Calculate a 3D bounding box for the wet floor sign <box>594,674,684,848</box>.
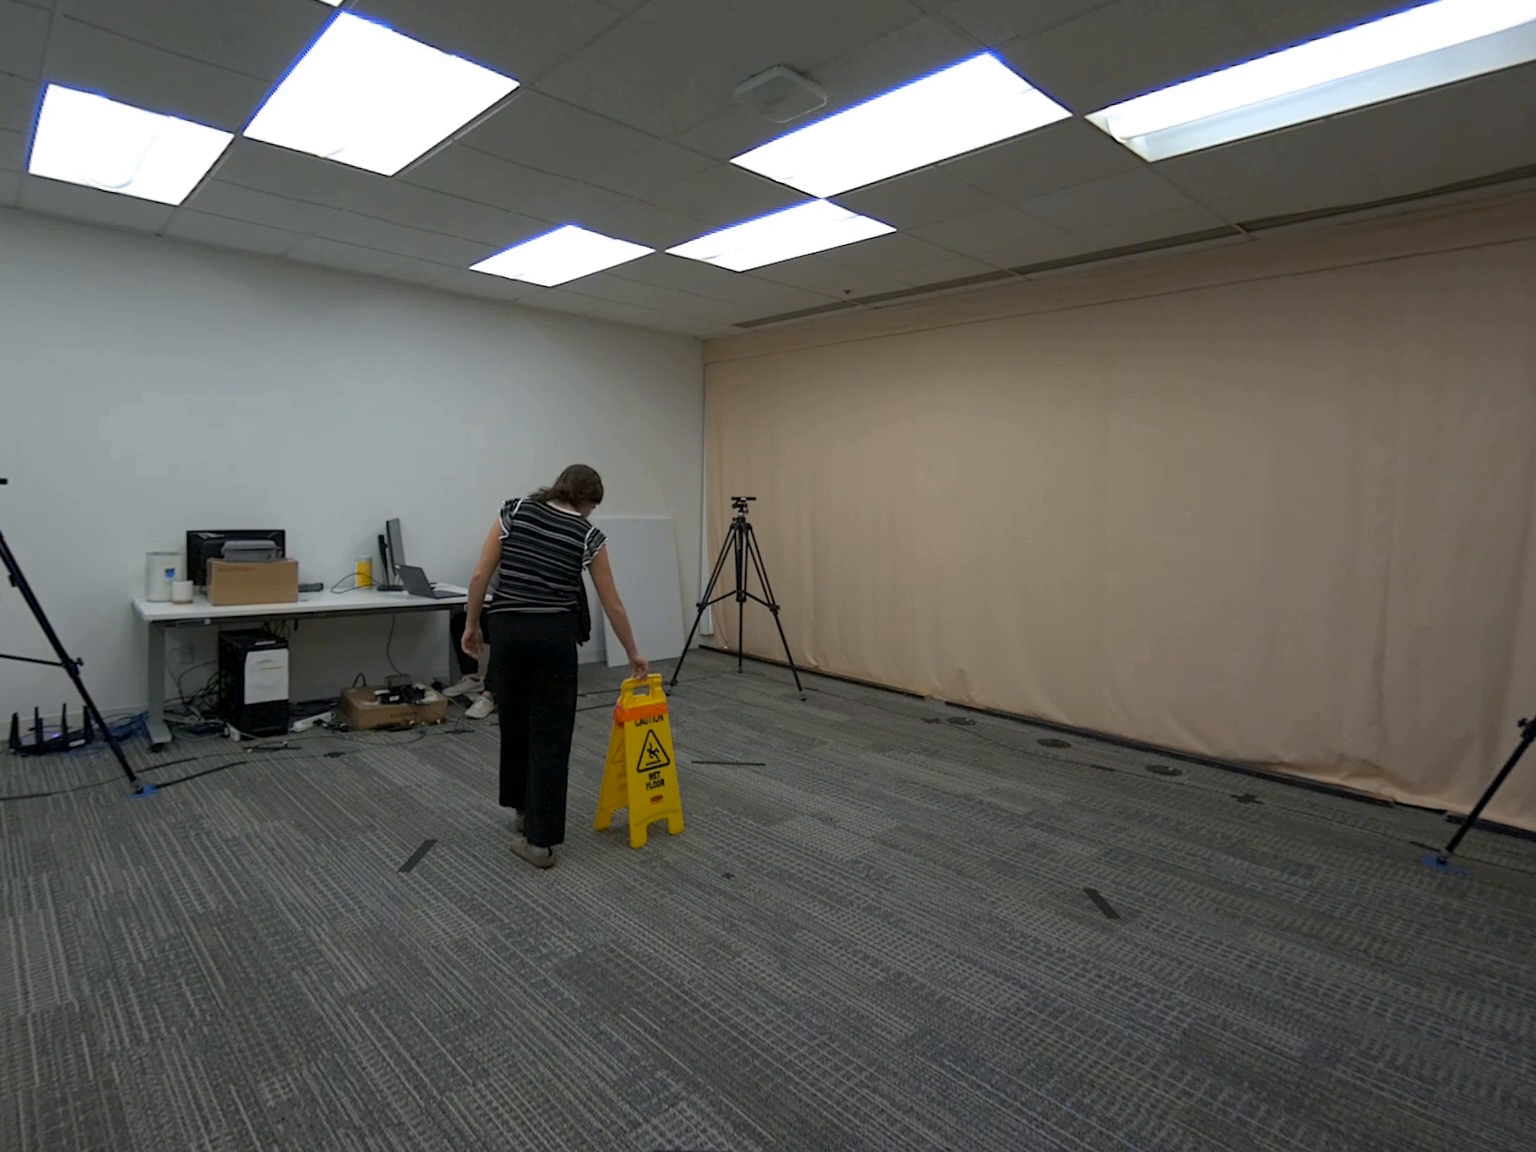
[{"bbox_3d":[-0.540,0.739,3.495,0.297,0.645,0.276,2,3,42],"label":"wet floor sign"}]
